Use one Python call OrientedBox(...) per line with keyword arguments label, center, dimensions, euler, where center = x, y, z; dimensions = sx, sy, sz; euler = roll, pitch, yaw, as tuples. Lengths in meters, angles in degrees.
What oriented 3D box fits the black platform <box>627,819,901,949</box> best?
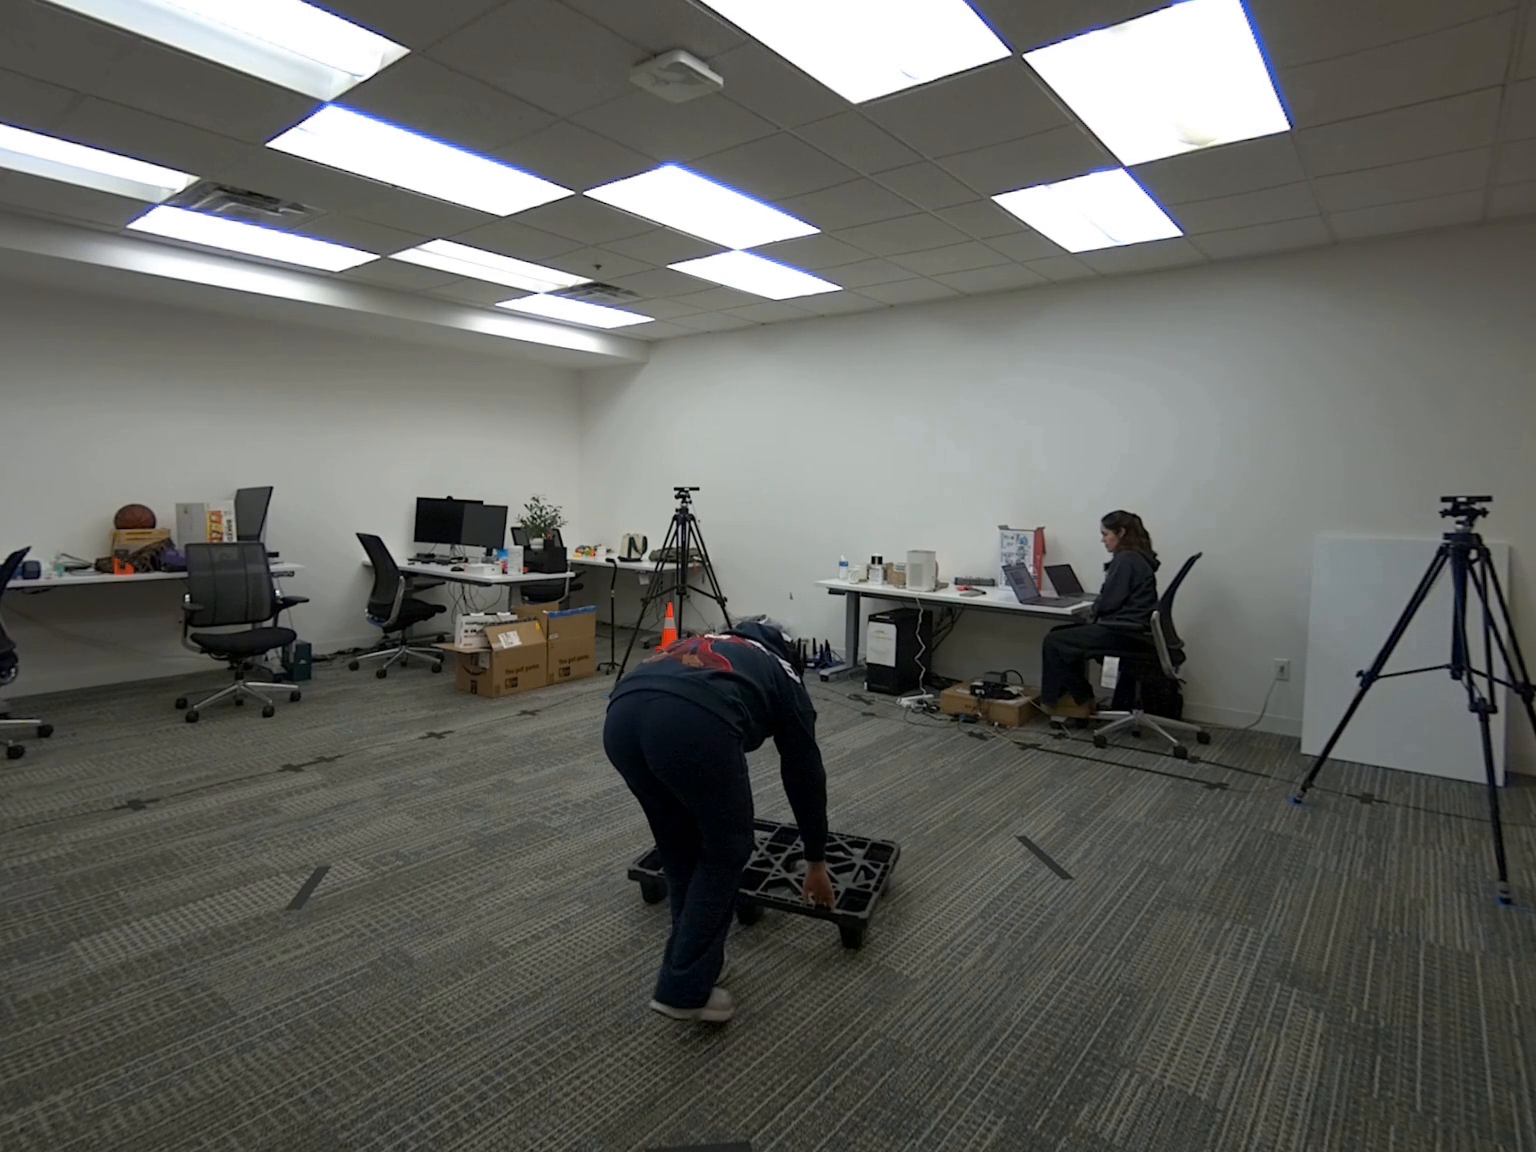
OrientedBox(label="black platform", center=(-0.002, 1.020, 2.919), dimensions=(0.823, 0.143, 0.594), euler=(3, 6, 20))
